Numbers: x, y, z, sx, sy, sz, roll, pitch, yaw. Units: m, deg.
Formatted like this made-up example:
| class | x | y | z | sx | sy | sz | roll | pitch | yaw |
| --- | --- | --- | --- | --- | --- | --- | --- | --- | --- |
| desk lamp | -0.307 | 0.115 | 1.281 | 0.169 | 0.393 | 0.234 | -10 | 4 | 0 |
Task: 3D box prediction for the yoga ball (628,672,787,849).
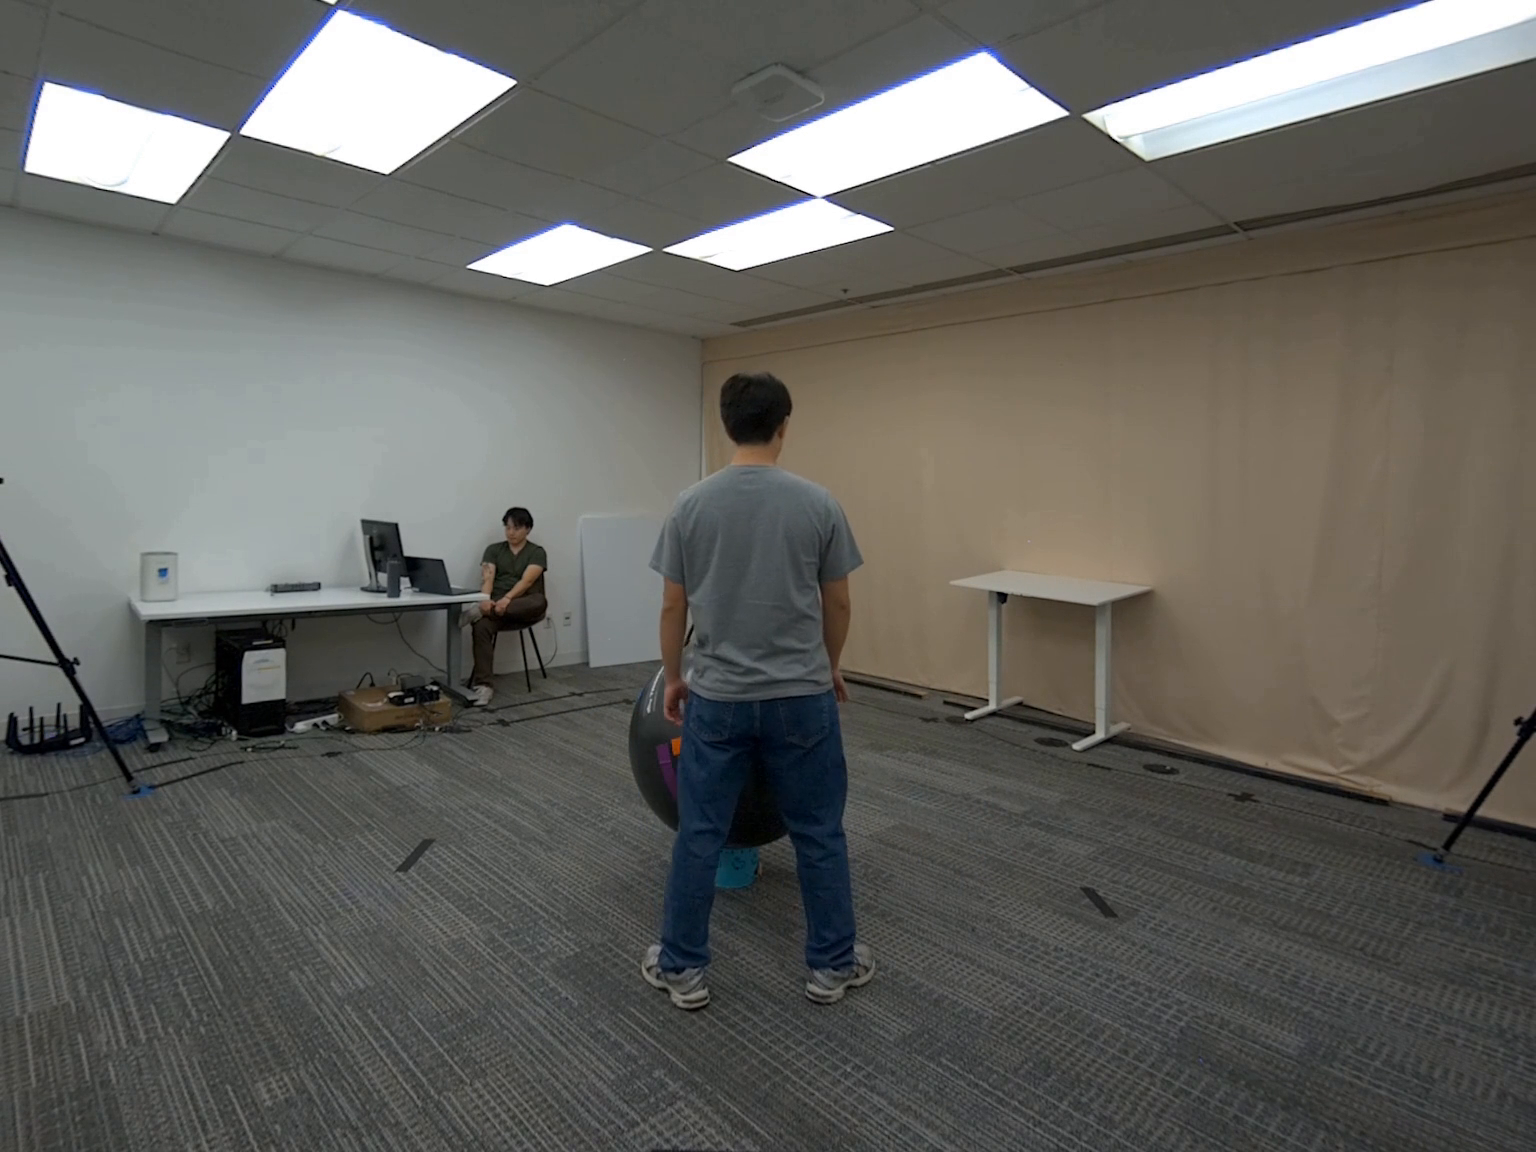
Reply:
| class | x | y | z | sx | sy | sz | roll | pitch | yaw |
| --- | --- | --- | --- | --- | --- | --- | --- | --- | --- |
| yoga ball | -0.130 | 0.600 | 3.066 | 0.757 | 0.756 | 0.761 | 1 | 4 | -1 |
